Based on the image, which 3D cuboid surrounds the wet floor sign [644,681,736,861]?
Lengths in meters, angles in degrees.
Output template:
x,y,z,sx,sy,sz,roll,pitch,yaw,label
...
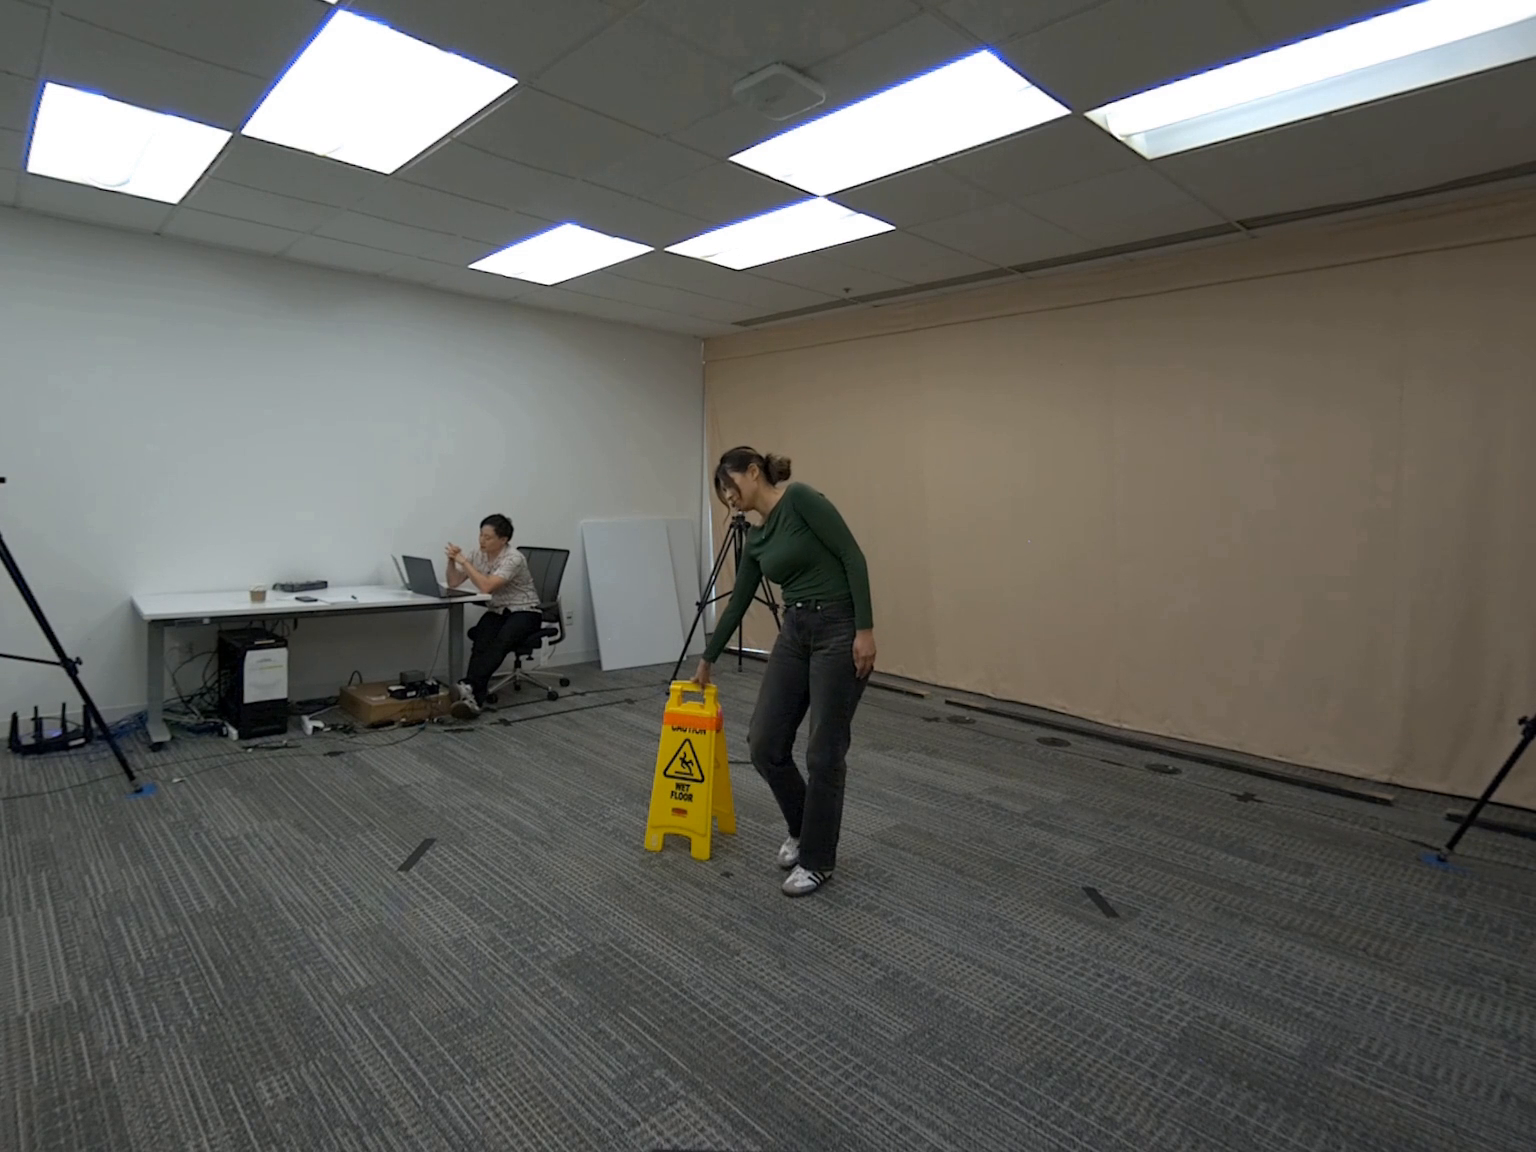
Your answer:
x,y,z,sx,sy,sz,roll,pitch,yaw,label
-0.315,0.751,3.388,0.287,0.644,0.286,1,3,20,wet floor sign
